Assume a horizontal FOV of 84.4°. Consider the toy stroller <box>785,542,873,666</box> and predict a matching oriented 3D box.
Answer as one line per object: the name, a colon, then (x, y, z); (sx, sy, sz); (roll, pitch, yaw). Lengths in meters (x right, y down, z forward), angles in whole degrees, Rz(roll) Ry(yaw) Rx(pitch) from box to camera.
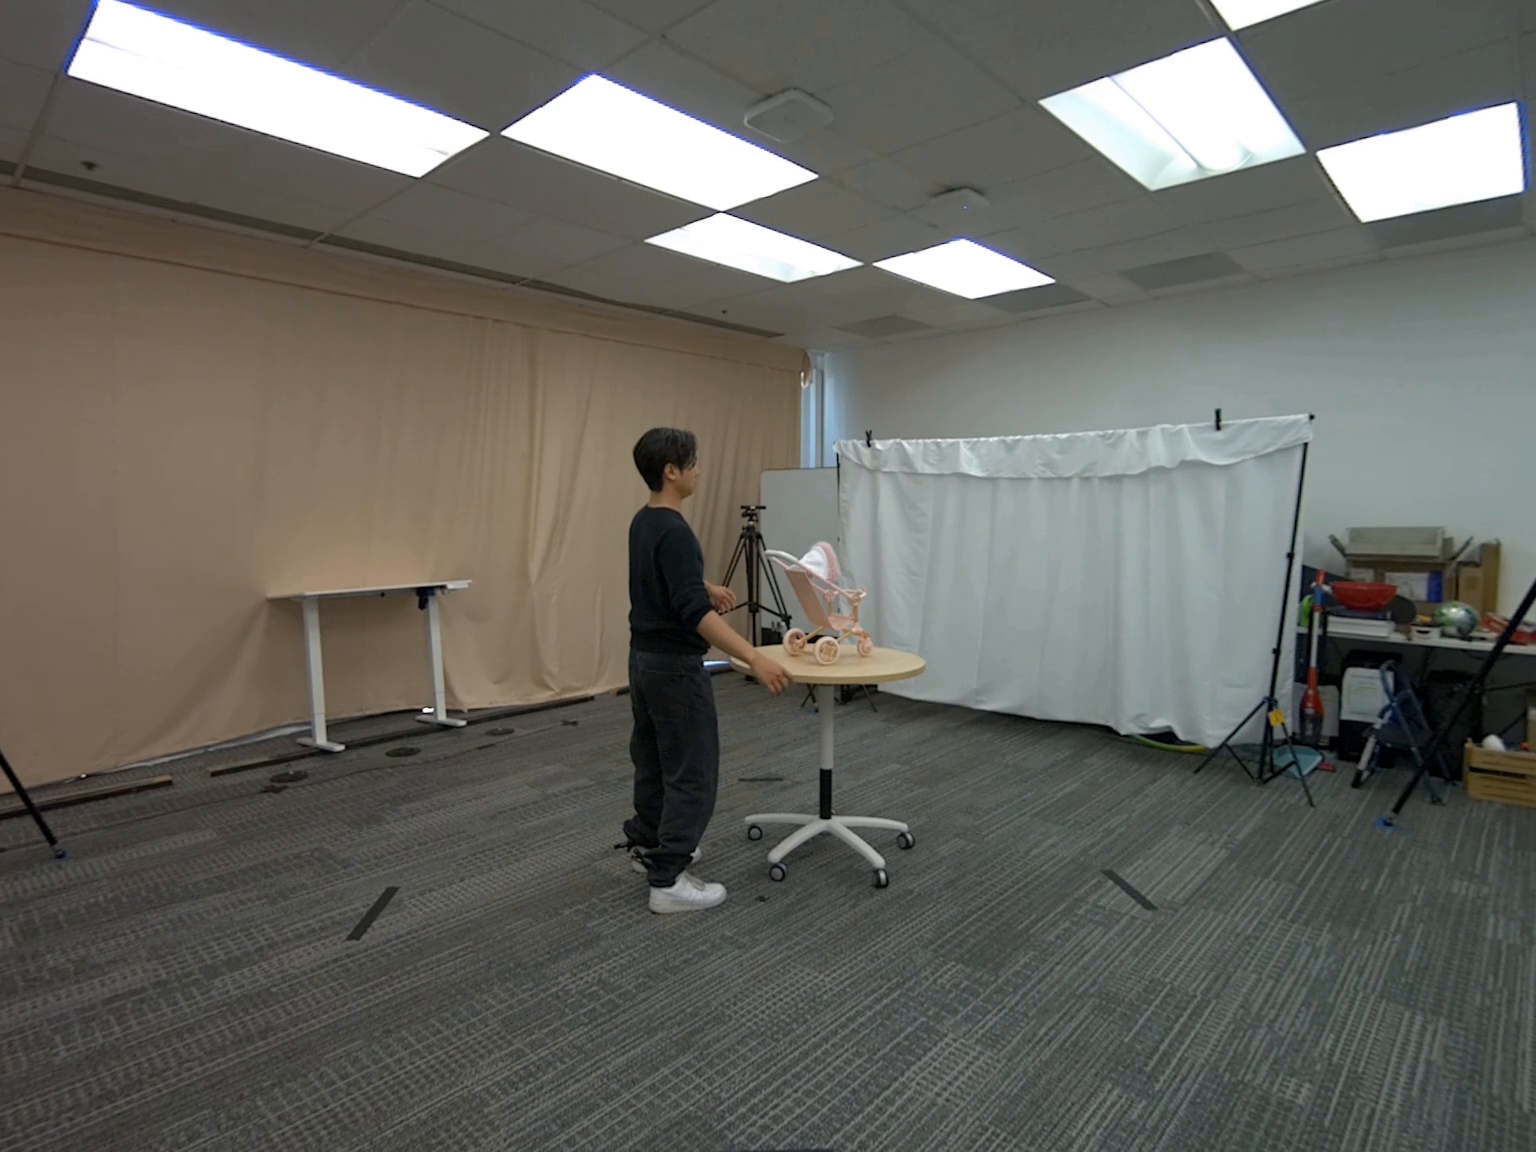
toy stroller: (0.233, 0.108, 3.322); (0.336, 0.531, 0.287); (-17, 8, -18)
